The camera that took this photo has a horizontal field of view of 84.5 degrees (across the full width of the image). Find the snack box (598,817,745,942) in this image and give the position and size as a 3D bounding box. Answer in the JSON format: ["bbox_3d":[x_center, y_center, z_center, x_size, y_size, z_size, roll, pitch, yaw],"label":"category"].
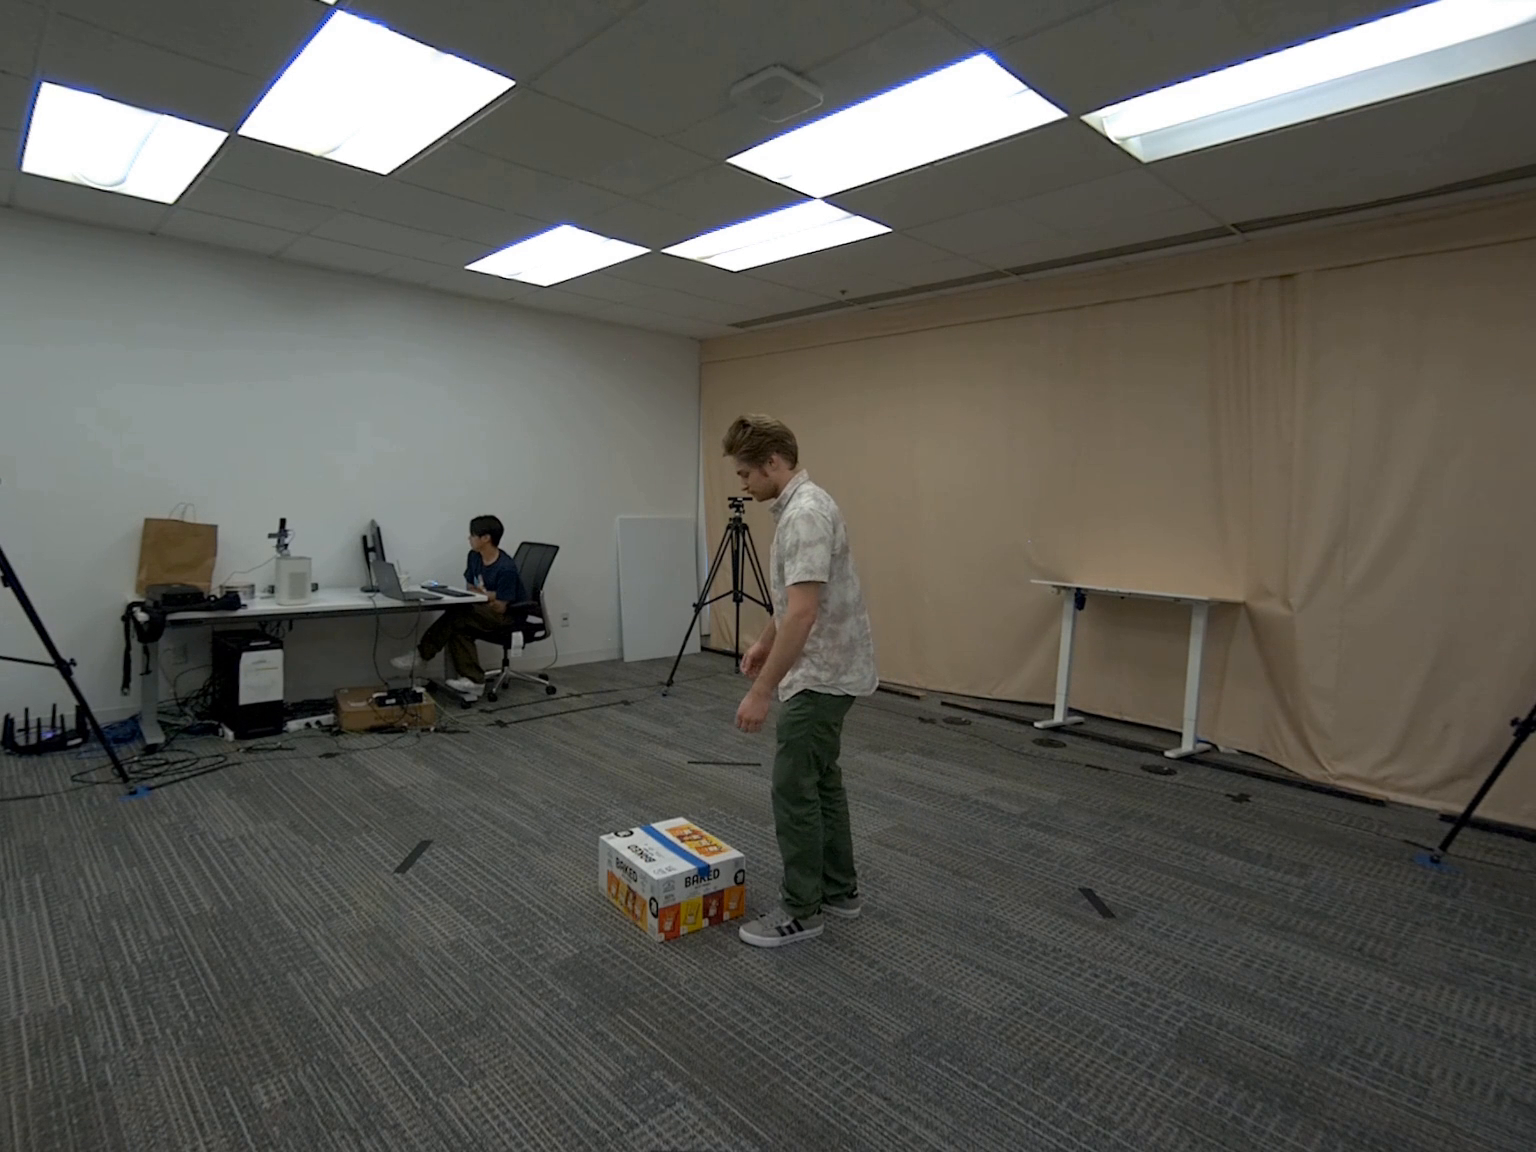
[{"bbox_3d":[-0.339,1.023,2.875,0.333,0.205,0.415,-2,6,-37],"label":"snack box"}]
